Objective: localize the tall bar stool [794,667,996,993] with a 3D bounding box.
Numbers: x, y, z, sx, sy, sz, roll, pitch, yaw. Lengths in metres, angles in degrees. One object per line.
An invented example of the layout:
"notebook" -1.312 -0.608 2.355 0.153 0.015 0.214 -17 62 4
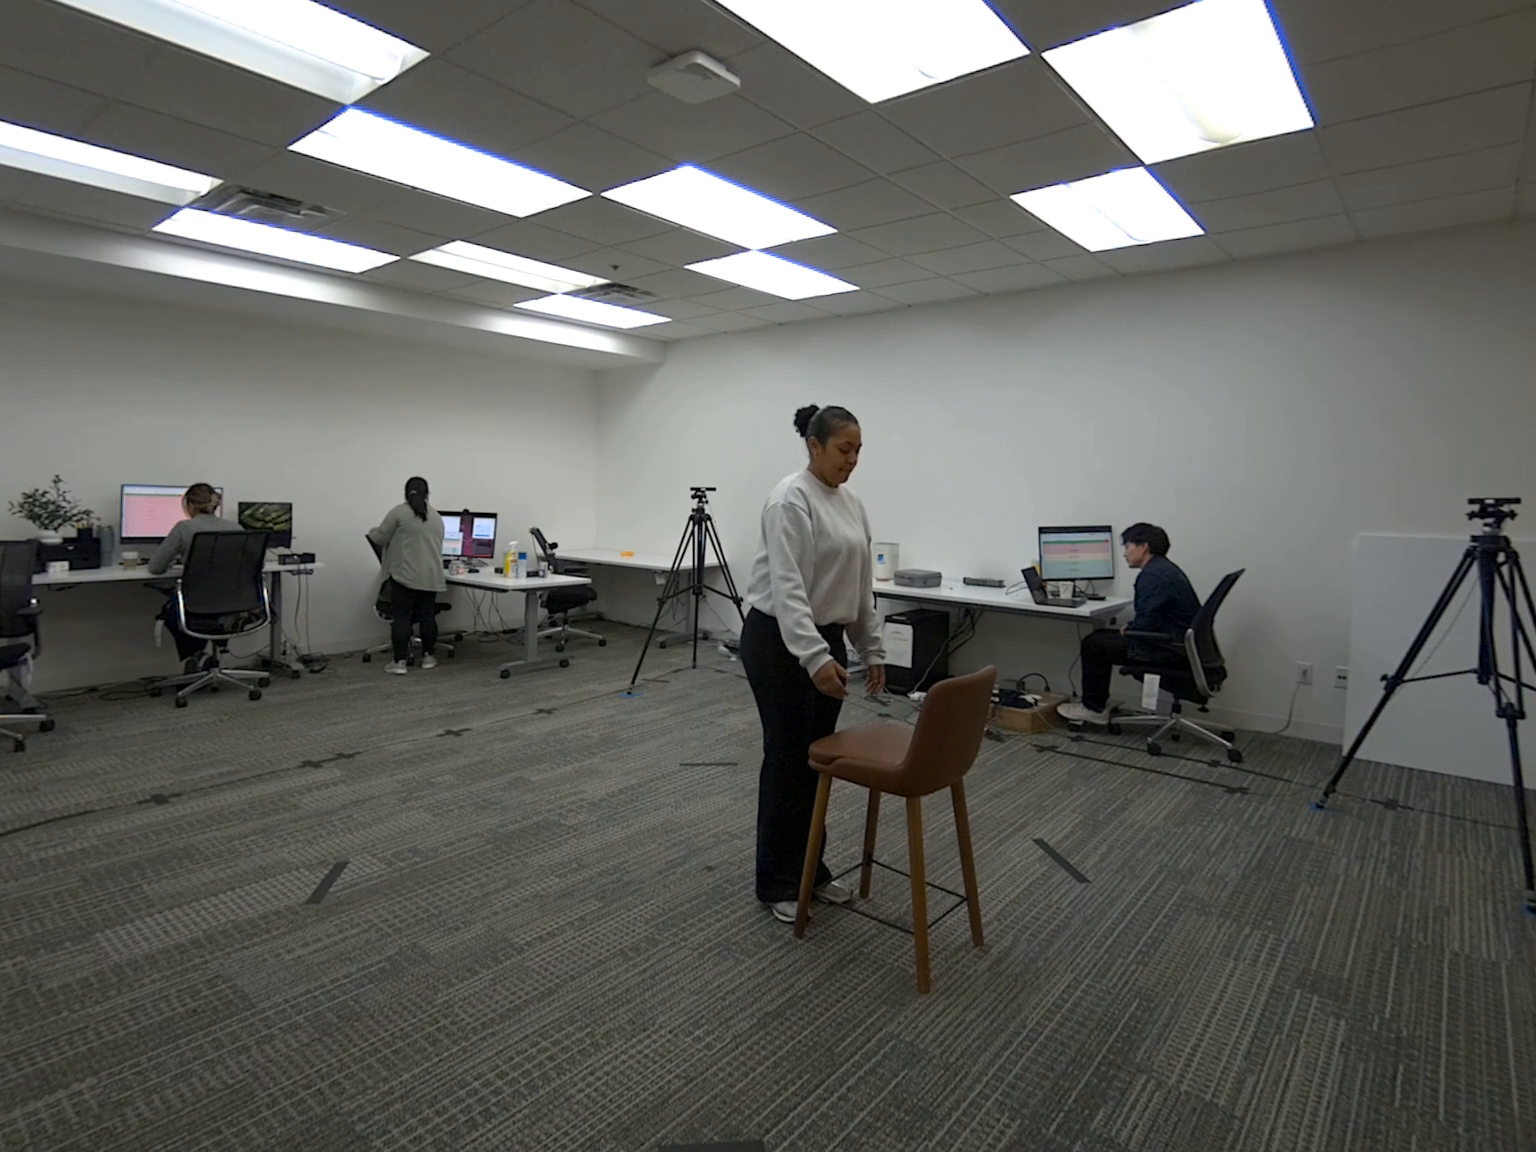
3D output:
"tall bar stool" 0.391 0.686 2.621 0.484 0.886 0.442 7 6 40
